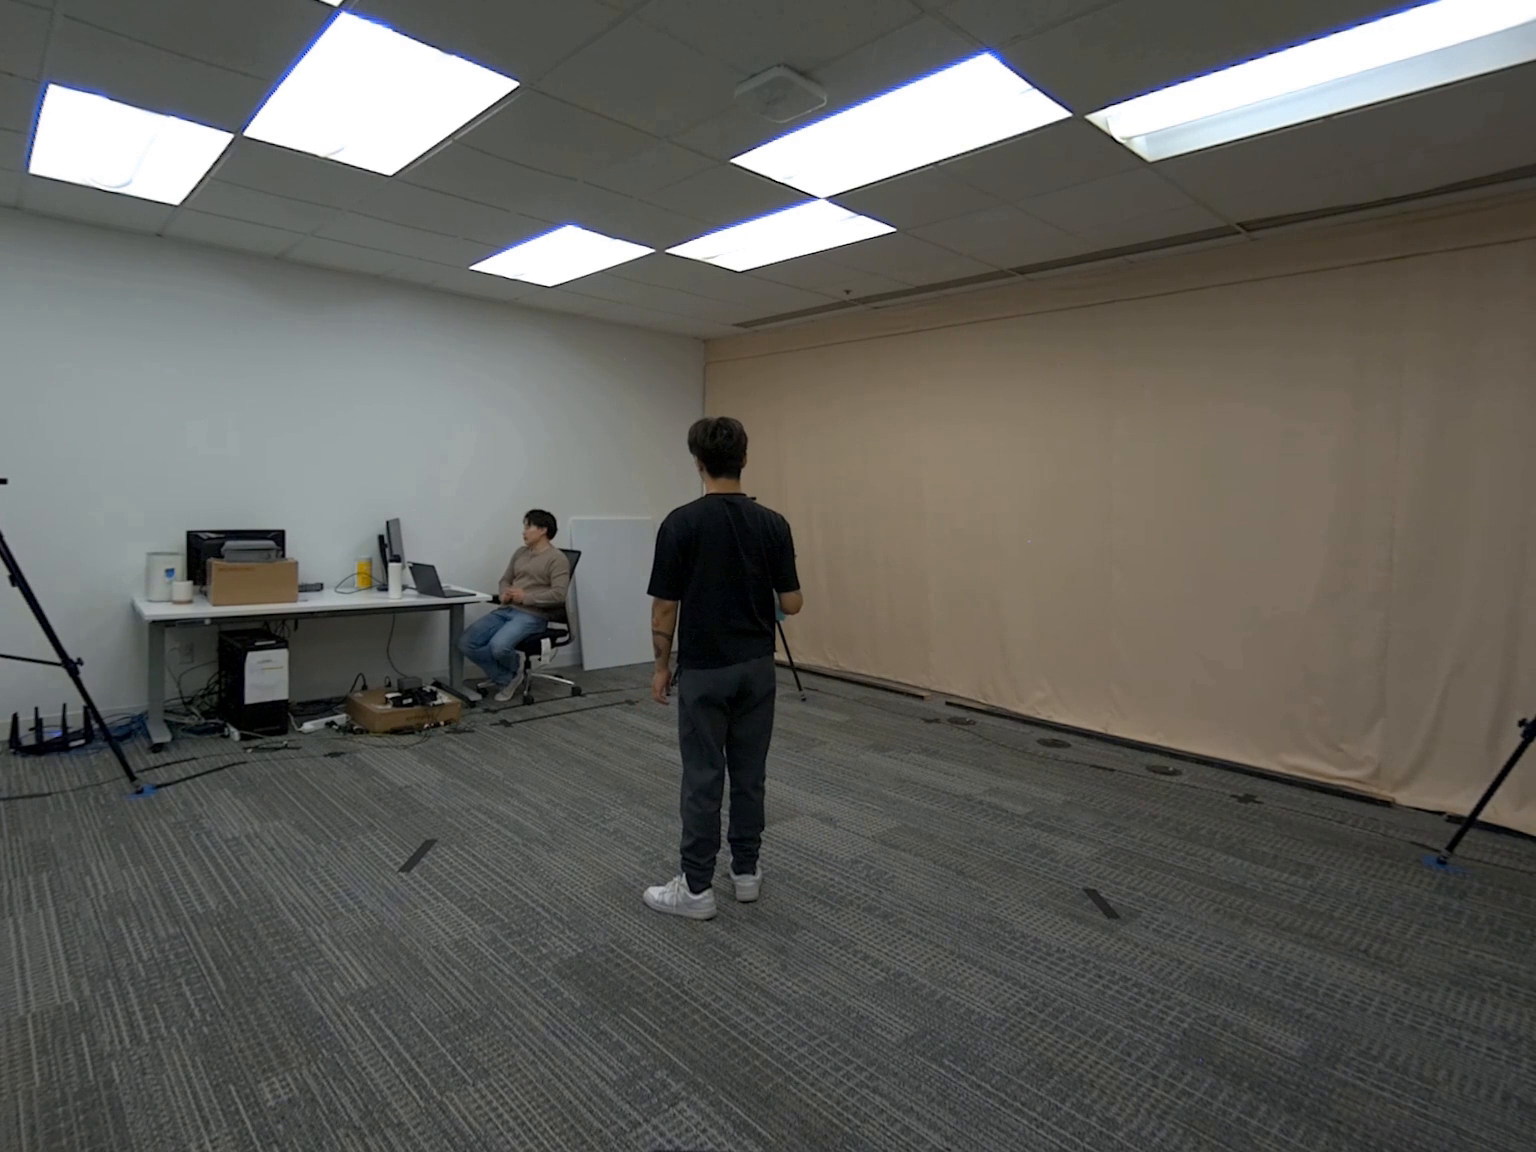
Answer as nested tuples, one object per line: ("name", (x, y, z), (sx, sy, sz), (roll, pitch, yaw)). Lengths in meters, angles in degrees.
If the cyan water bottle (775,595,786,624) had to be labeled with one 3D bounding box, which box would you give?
("cyan water bottle", (0.043, 0.026, 3.240), (0.092, 0.283, 0.092), (7, 3, -2))
